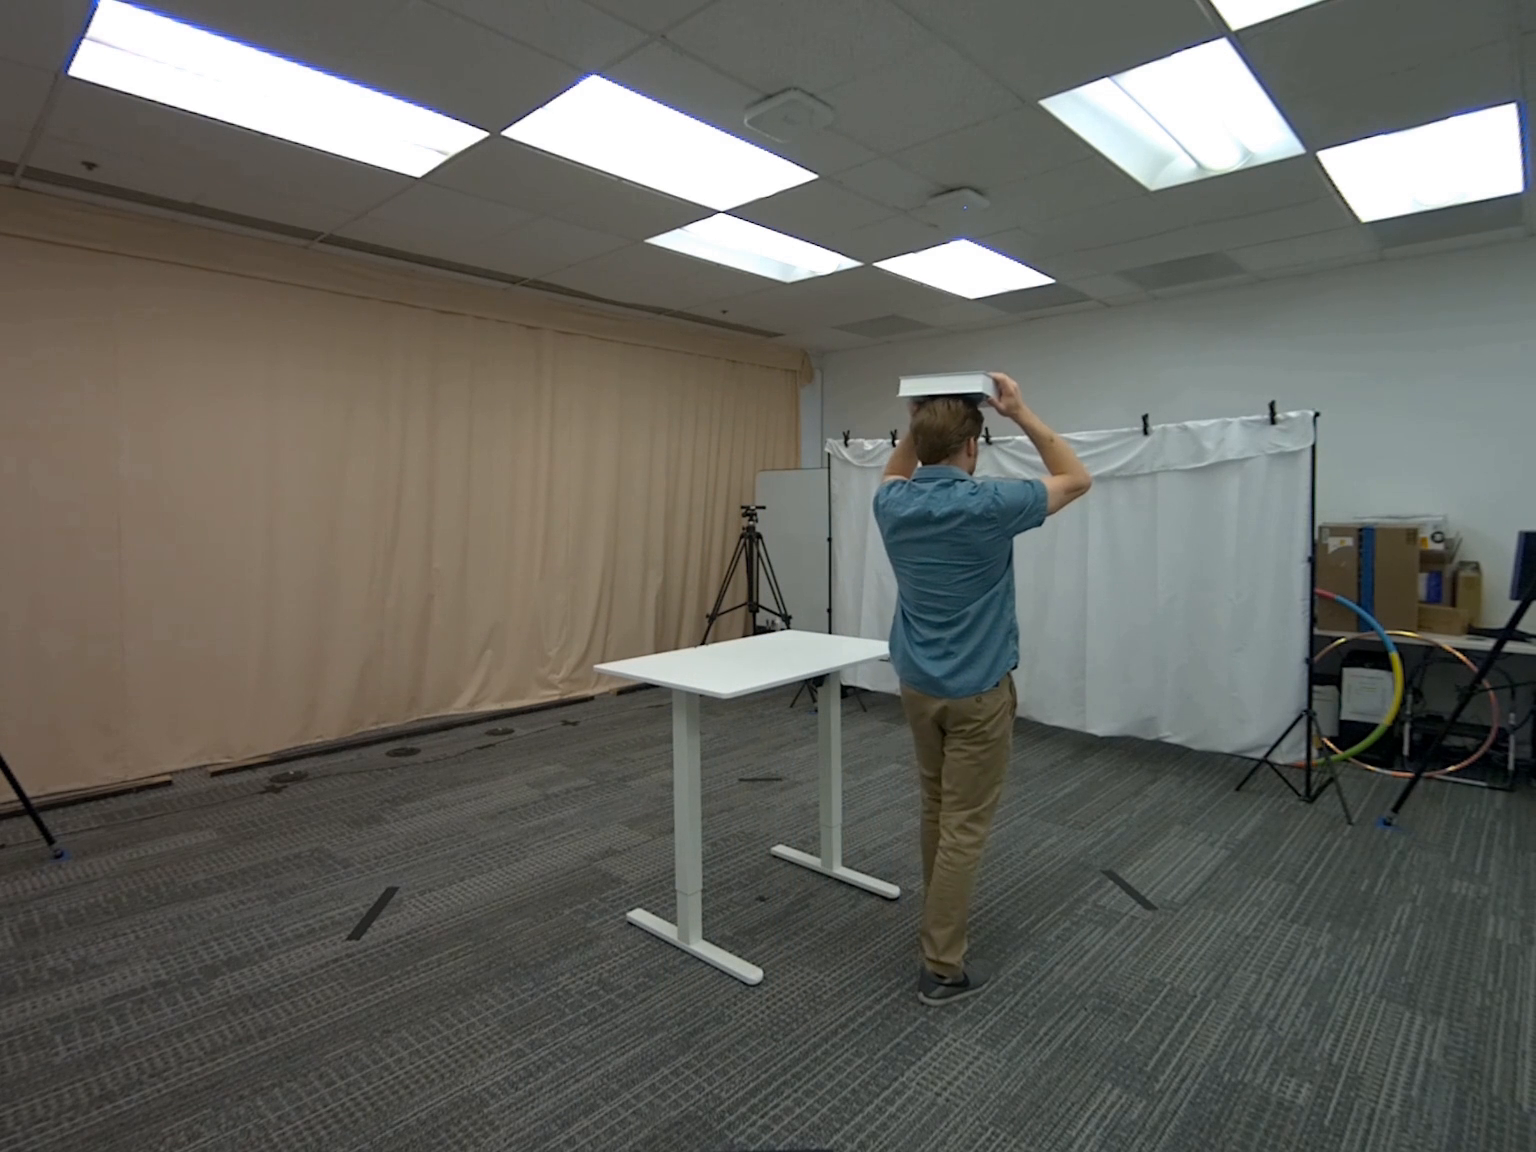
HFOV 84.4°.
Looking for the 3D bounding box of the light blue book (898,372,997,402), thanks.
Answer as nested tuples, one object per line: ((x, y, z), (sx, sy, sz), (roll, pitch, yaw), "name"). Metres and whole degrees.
((0.537, -0.526, 2.411), (0.270, 0.059, 0.185), (7, 2, 39), "light blue book")
